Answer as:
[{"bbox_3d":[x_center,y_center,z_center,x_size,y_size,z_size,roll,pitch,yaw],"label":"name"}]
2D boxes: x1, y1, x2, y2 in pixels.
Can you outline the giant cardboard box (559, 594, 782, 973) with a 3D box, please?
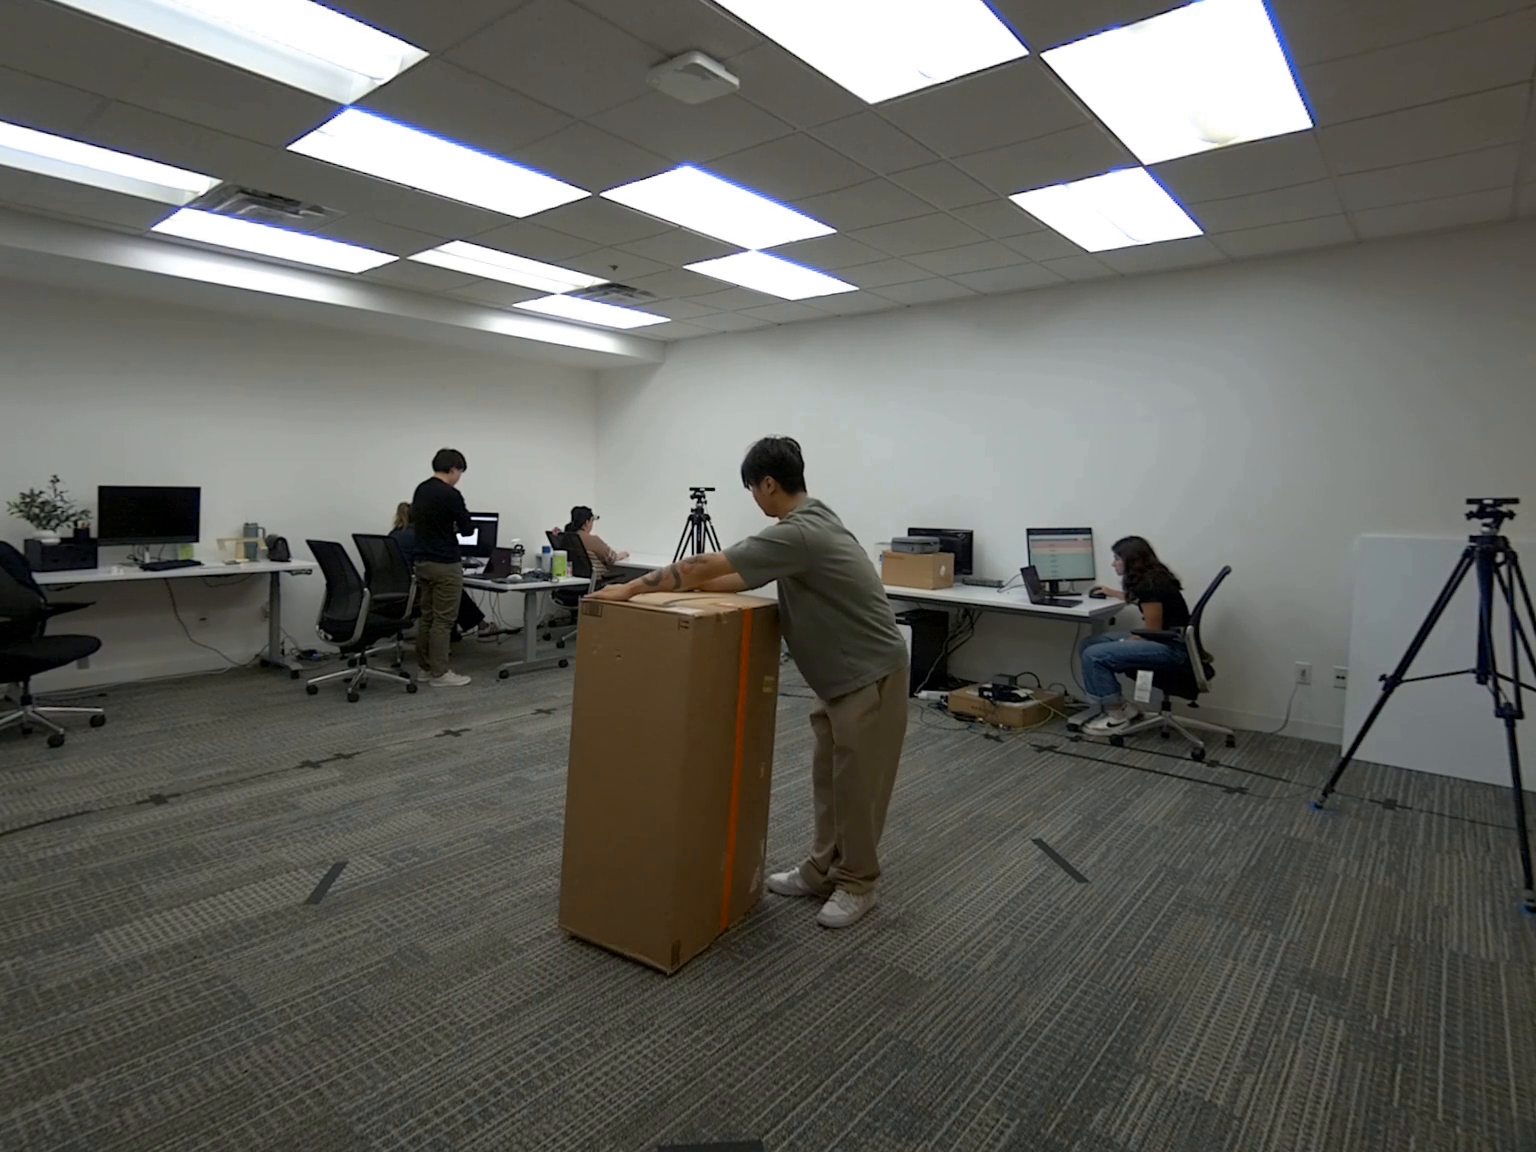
[{"bbox_3d":[-0.304,0.583,2.730,0.439,1.024,0.562,5,3,28],"label":"giant cardboard box"}]
